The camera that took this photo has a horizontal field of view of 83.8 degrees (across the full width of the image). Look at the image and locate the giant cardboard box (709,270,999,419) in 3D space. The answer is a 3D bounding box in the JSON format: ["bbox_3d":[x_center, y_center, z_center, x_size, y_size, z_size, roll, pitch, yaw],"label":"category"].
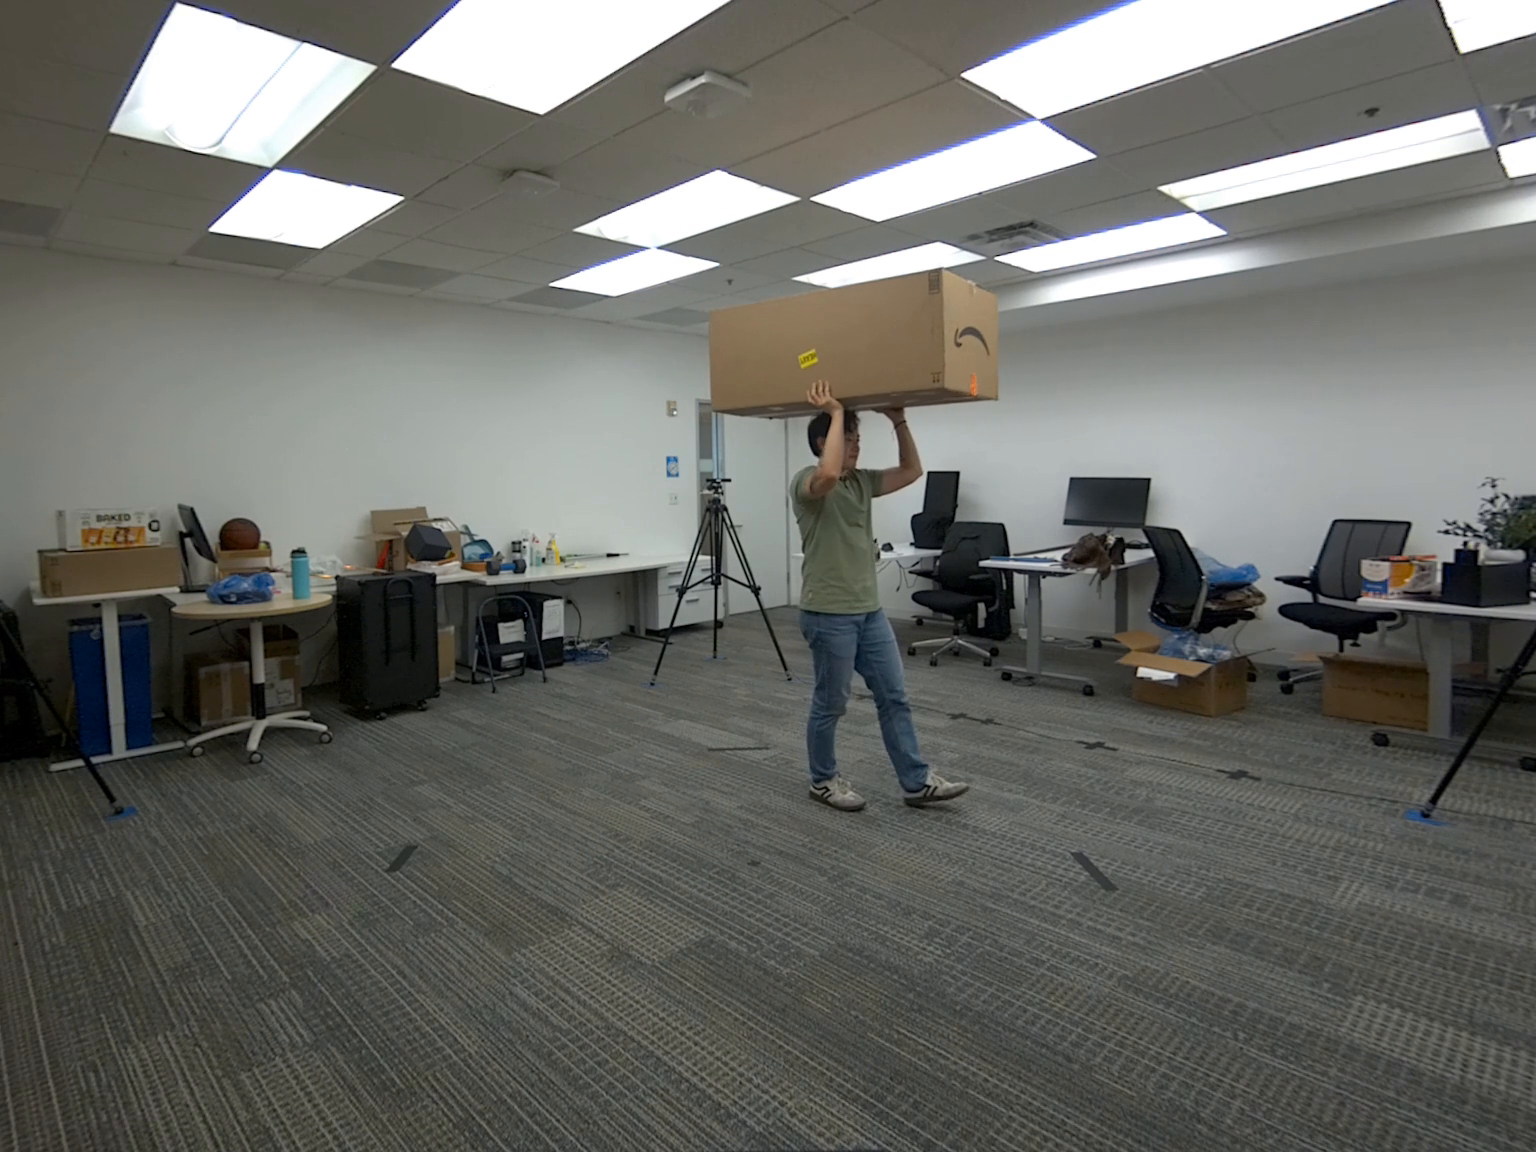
[{"bbox_3d":[0.341,-0.905,3.508,1.055,0.425,0.563,2,5,35],"label":"giant cardboard box"}]
